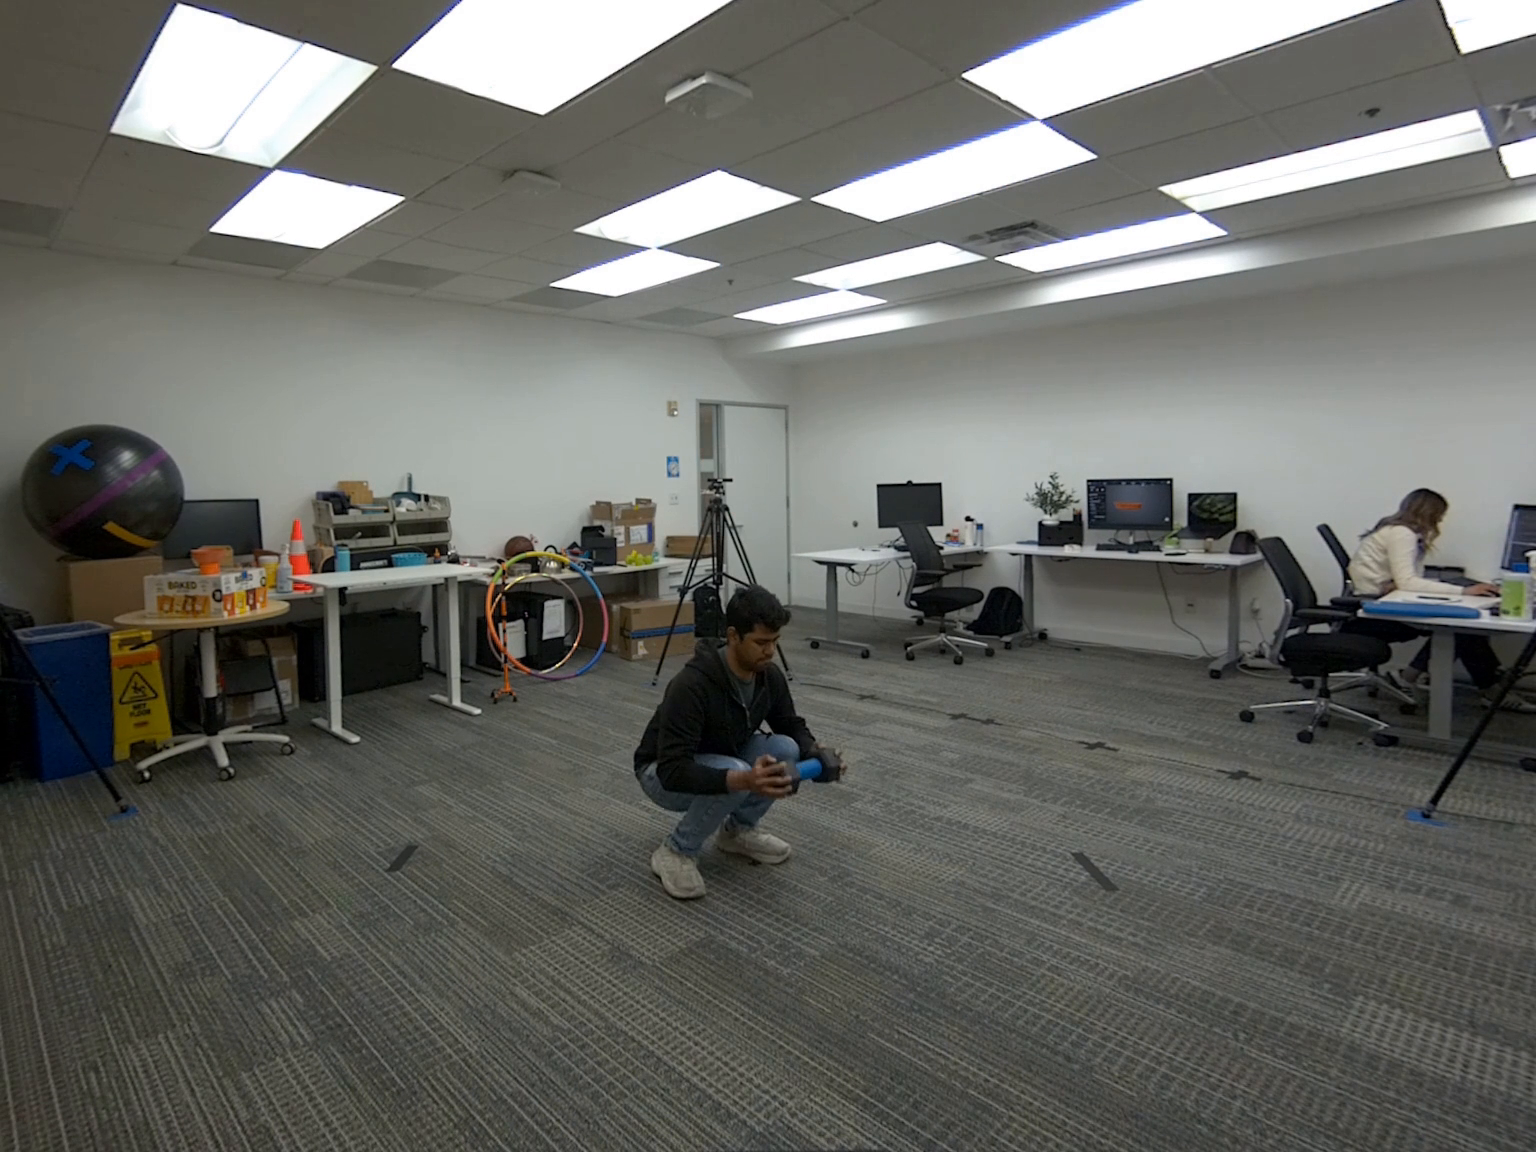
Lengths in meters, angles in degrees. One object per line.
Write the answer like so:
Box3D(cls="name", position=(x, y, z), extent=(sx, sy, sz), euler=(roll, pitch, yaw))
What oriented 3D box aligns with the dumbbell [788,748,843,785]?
Box3D(cls="dumbbell", position=(0.093, 0.626, 2.788), extent=(0.125, 0.109, 0.285), euler=(-15, -8, 43))
